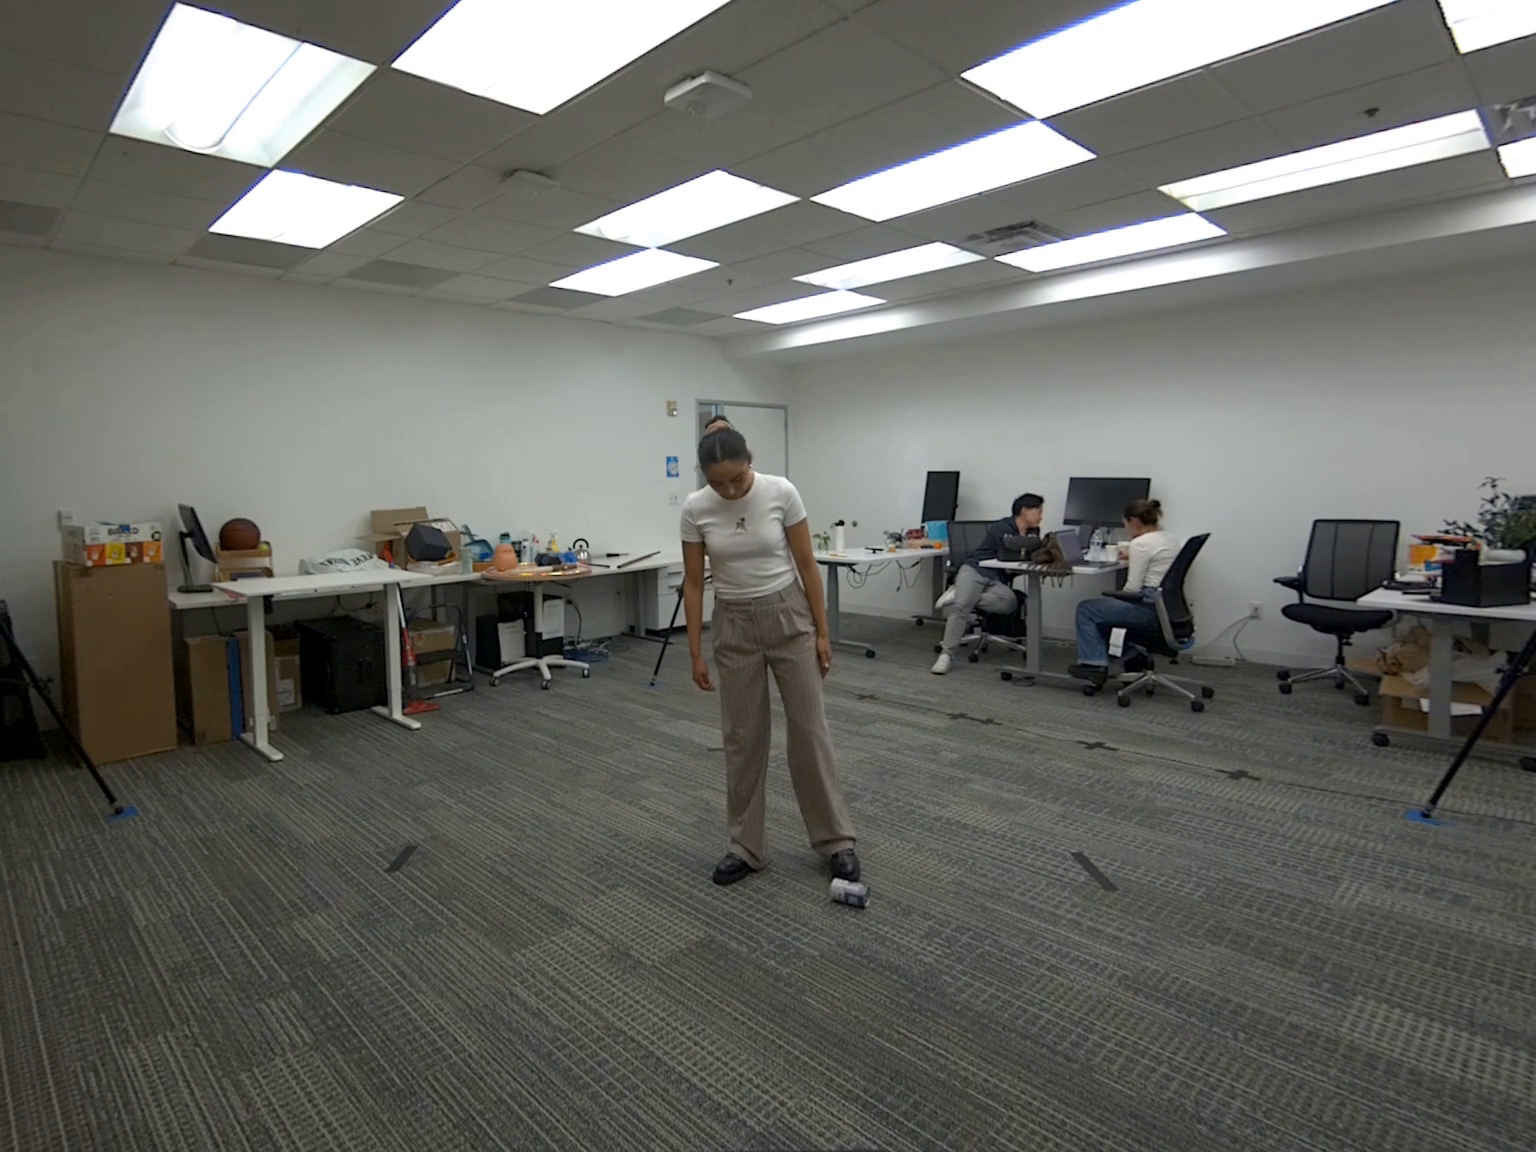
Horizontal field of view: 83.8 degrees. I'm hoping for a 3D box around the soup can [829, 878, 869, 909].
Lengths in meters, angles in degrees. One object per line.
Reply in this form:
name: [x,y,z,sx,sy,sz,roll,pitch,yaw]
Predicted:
soup can: [0.277,1.041,2.807,0.125,0.067,0.066,4,7,28]
